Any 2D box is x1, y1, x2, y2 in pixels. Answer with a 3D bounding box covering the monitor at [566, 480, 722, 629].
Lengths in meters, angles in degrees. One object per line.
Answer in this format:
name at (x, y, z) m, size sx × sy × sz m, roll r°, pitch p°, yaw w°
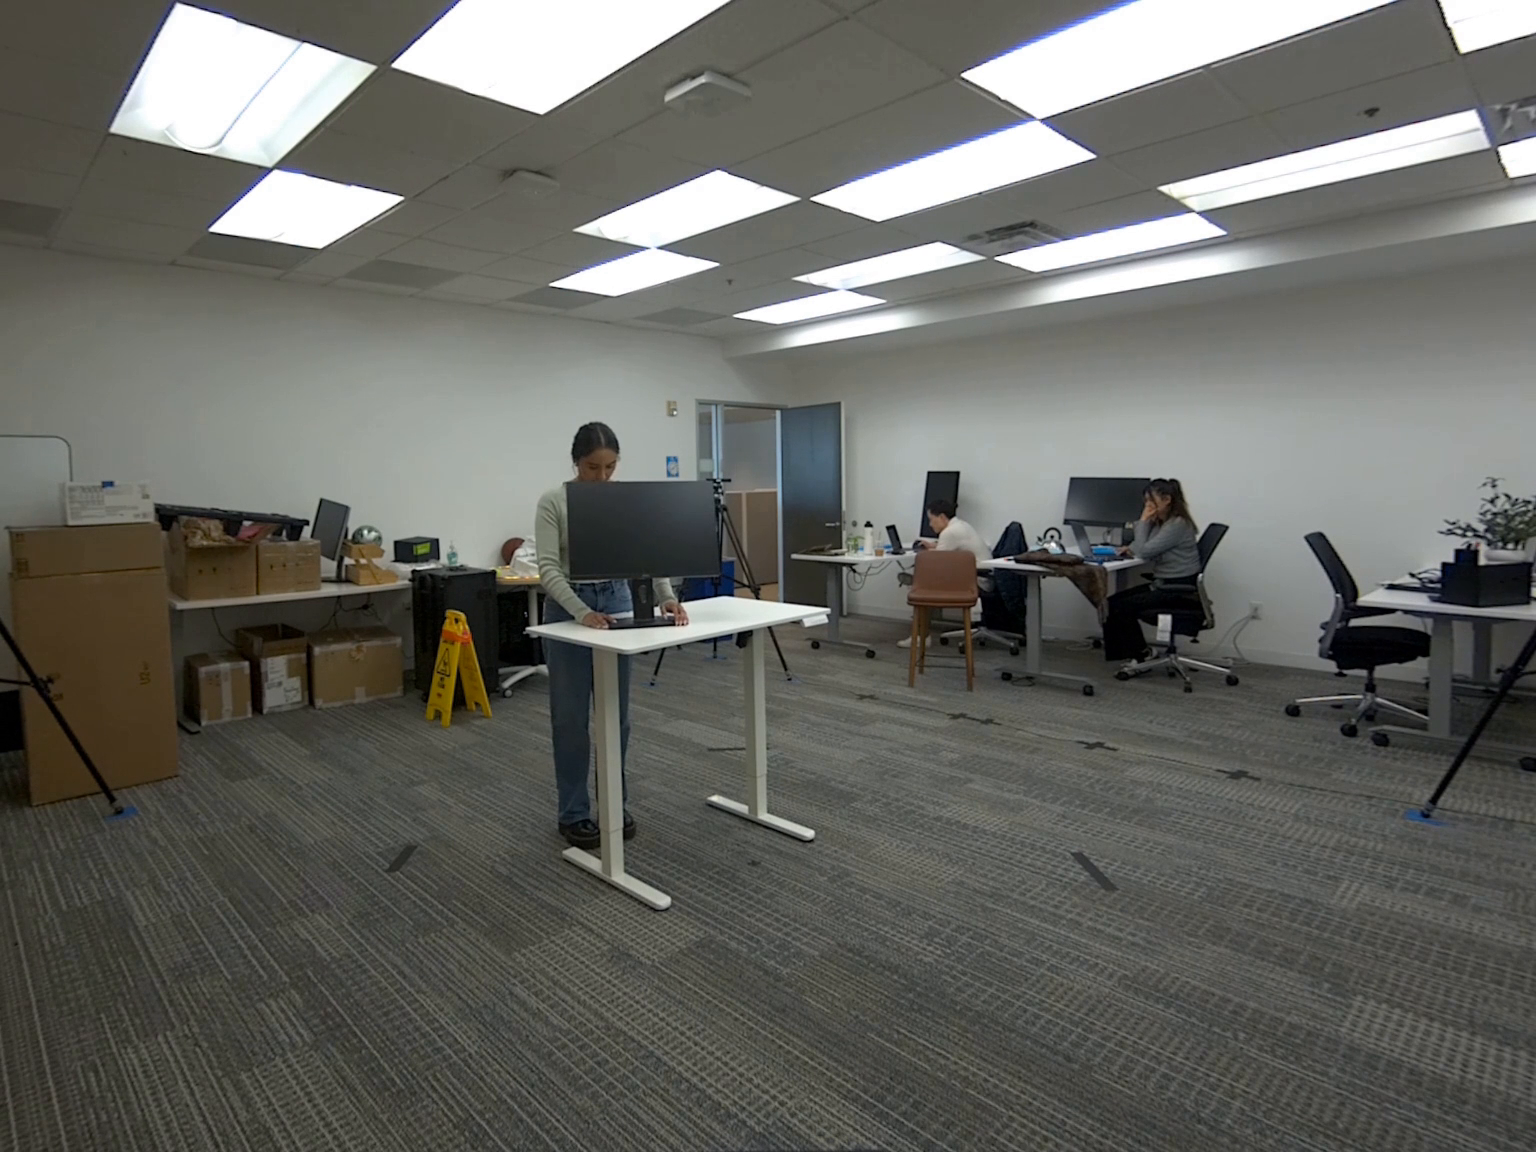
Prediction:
monitor at (-0.451, -0.083, 3.066) m, size 0.524 × 0.512 × 0.178 m, roll -1°, pitch 8°, yaw -11°
